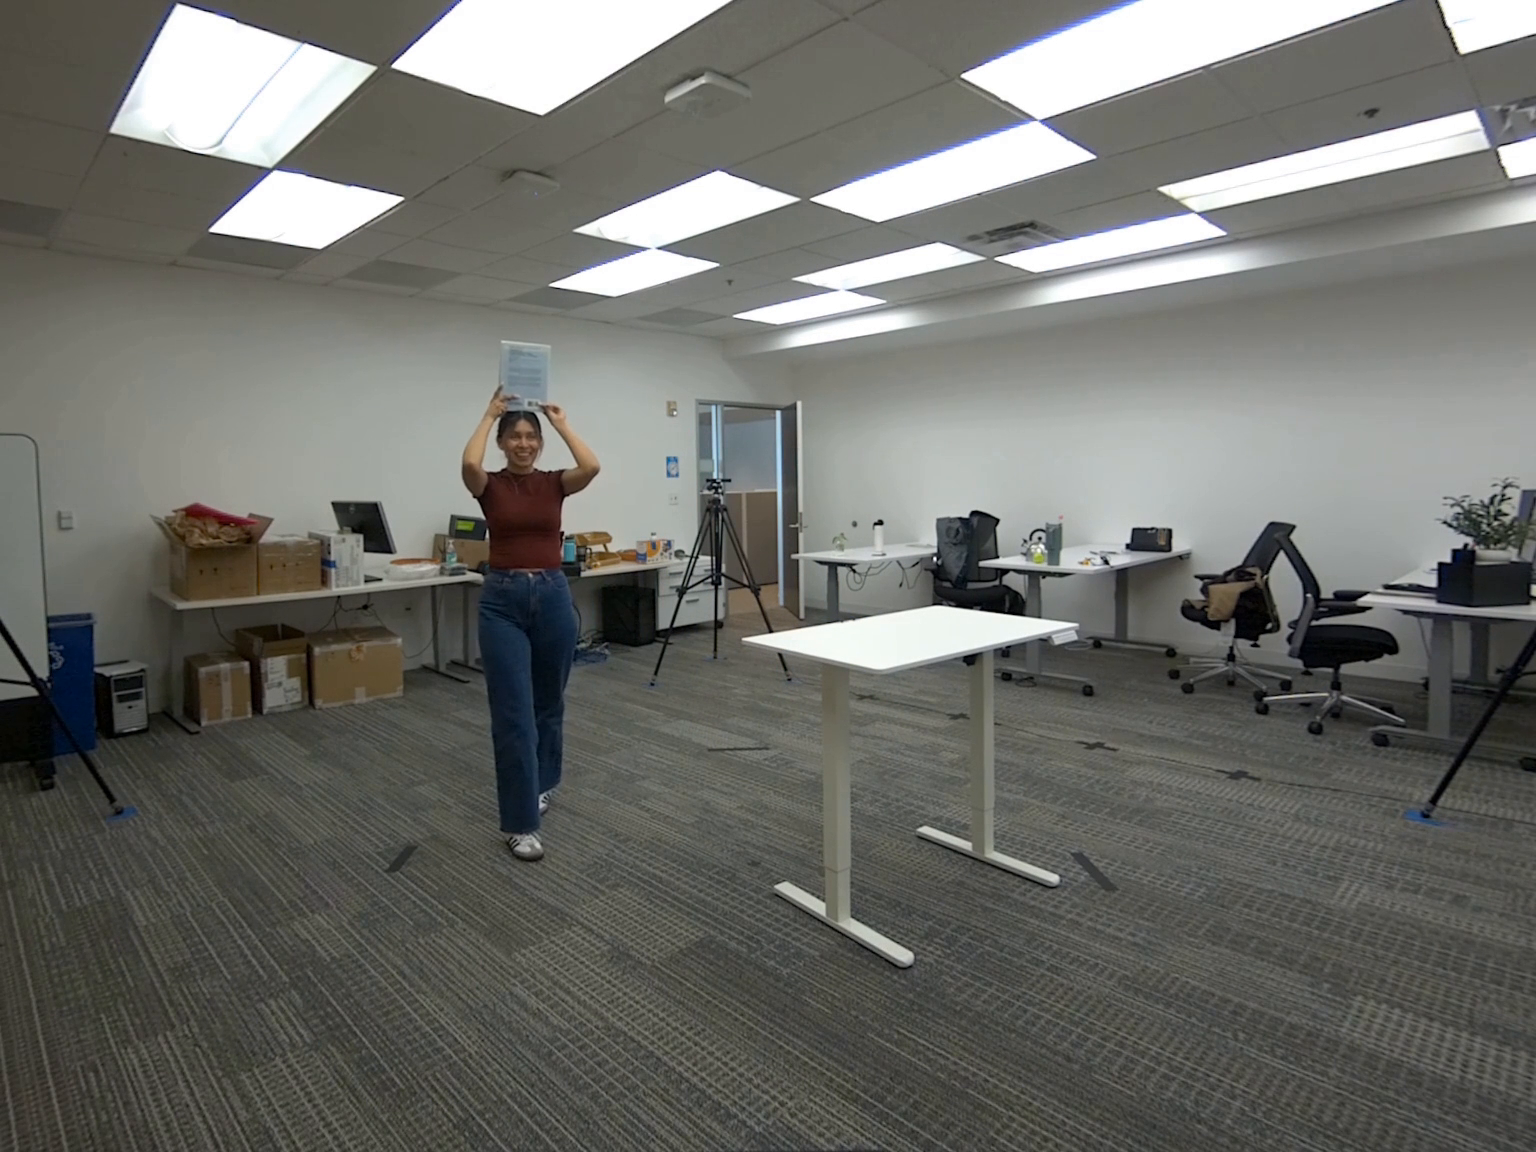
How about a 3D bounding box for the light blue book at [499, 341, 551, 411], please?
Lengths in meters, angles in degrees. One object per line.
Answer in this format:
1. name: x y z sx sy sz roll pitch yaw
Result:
1. light blue book: -0.961 -0.778 3.351 0.187 0.259 0.061 -1 12 -27
